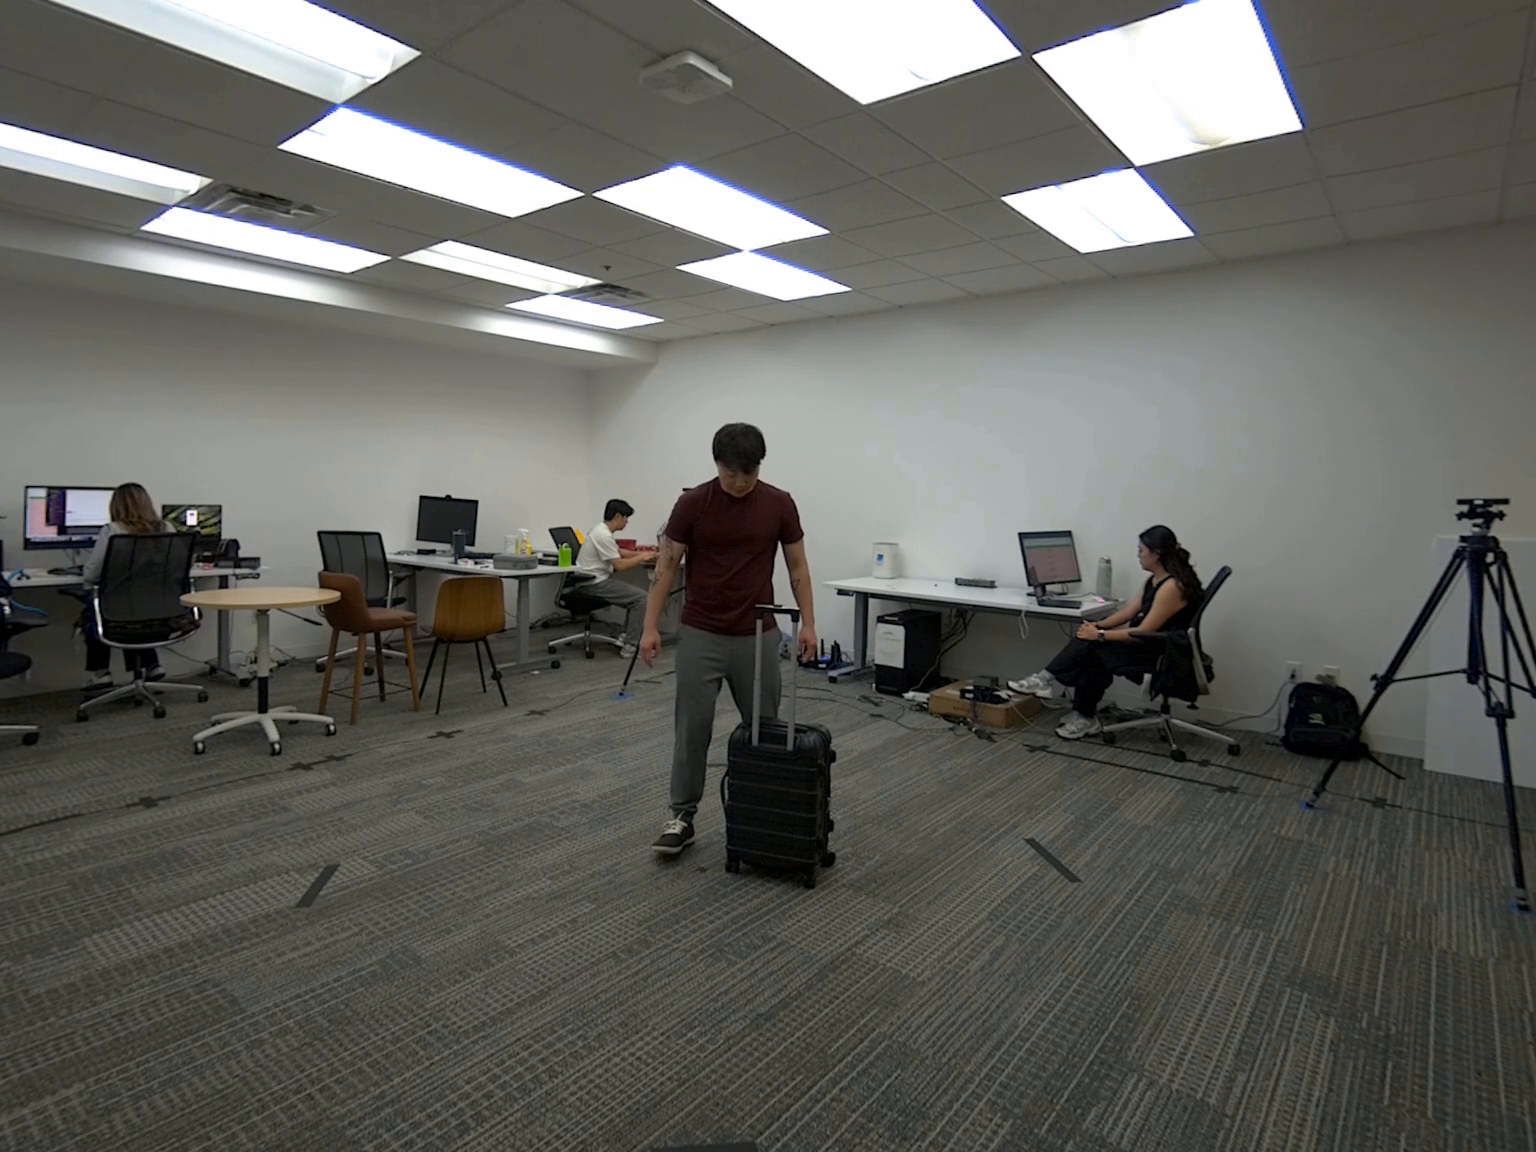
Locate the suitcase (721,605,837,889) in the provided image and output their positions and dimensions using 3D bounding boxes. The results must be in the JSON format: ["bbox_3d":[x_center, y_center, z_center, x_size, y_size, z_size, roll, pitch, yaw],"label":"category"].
[{"bbox_3d":[0.044,0.594,3.098,0.392,0.976,0.252,2,2,19],"label":"suitcase"}]
